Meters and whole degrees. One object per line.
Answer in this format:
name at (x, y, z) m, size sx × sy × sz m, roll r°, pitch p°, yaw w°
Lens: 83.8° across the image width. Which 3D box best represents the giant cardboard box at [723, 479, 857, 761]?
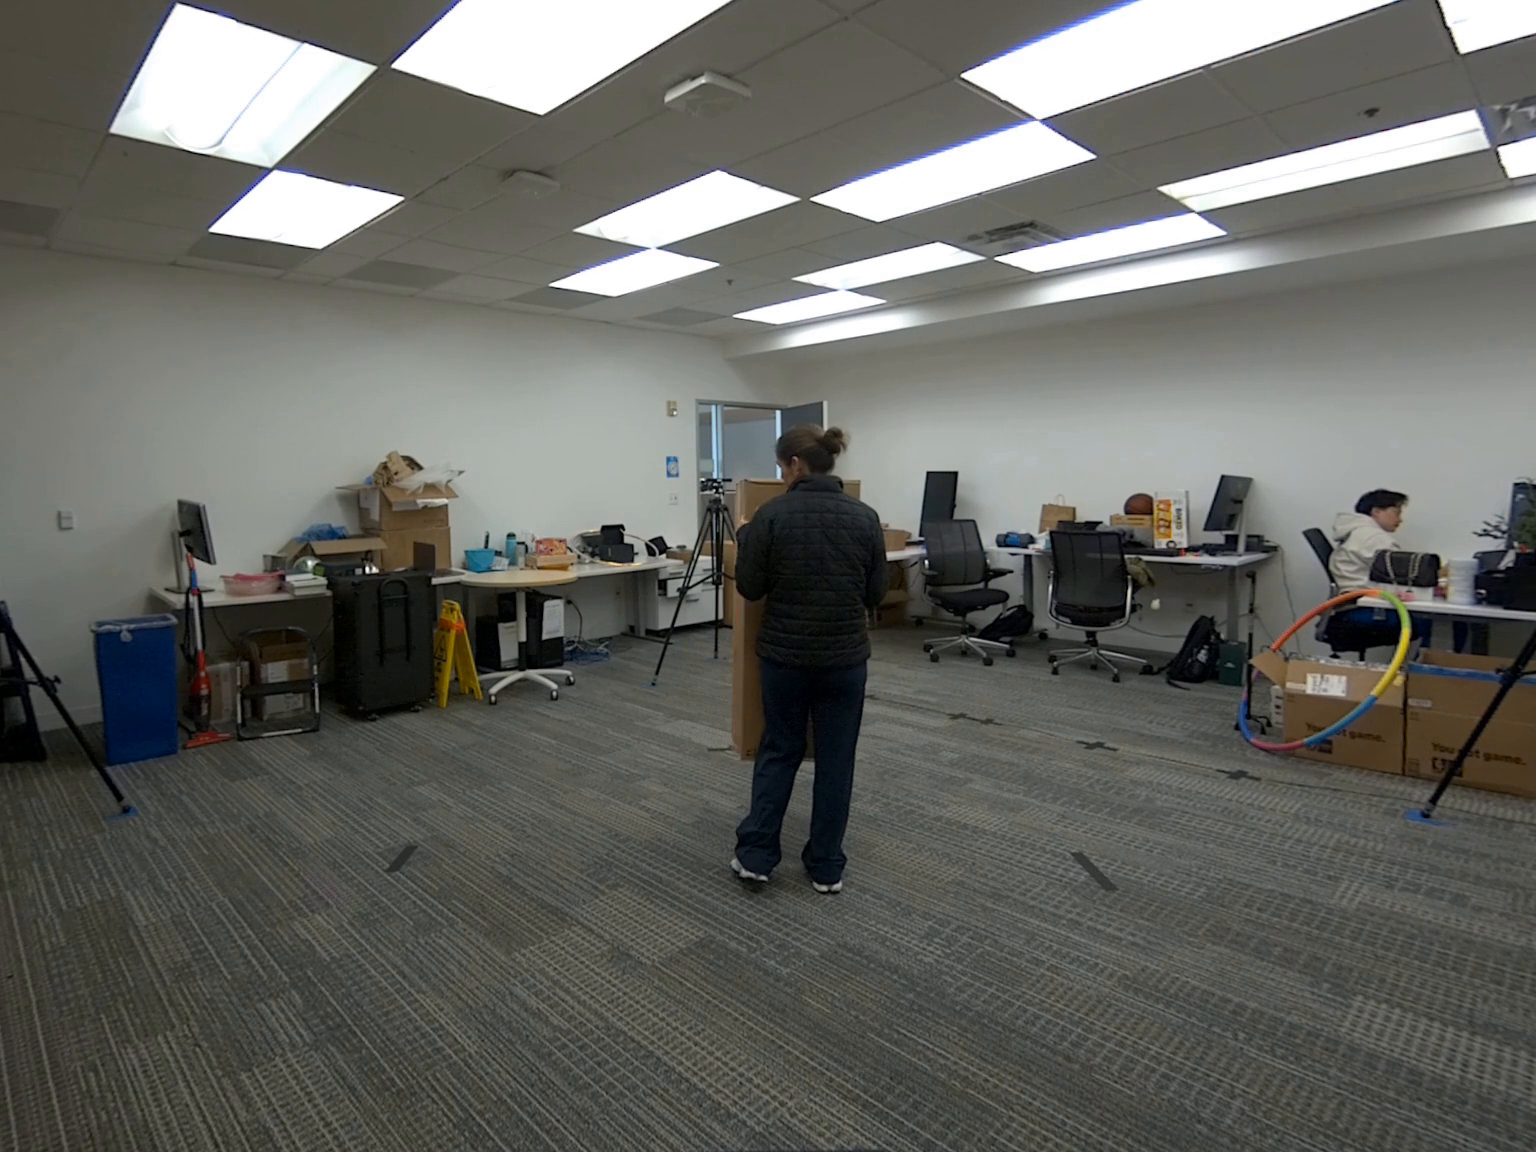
giant cardboard box at (0.083, 0.149, 3.385) m, size 0.425 × 1.025 × 0.580 m, roll 1°, pitch 1°, yaw -4°
